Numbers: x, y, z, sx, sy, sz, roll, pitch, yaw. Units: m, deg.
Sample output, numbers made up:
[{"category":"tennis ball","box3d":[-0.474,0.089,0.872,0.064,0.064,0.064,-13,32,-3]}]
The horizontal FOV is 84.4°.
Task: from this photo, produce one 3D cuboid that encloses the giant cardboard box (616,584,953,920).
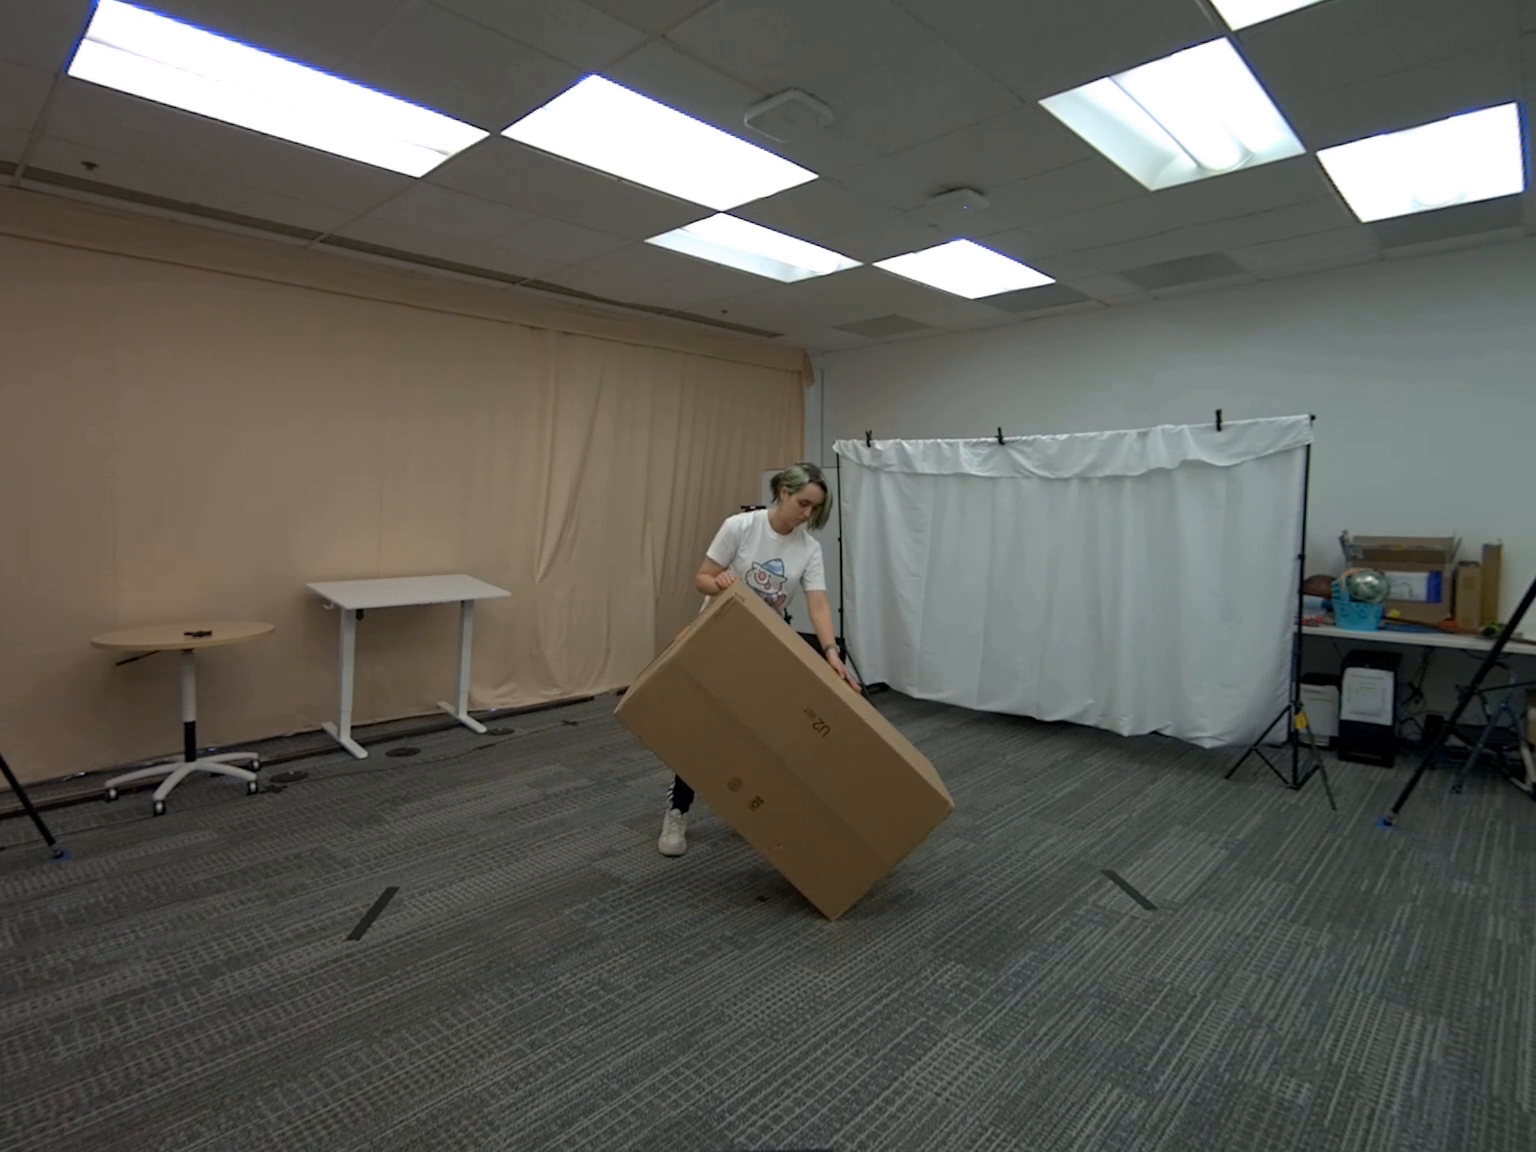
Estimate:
[{"category":"giant cardboard box","box3d":[0.055,0.590,2.978,1.023,0.579,0.426,44,7,-2]}]
